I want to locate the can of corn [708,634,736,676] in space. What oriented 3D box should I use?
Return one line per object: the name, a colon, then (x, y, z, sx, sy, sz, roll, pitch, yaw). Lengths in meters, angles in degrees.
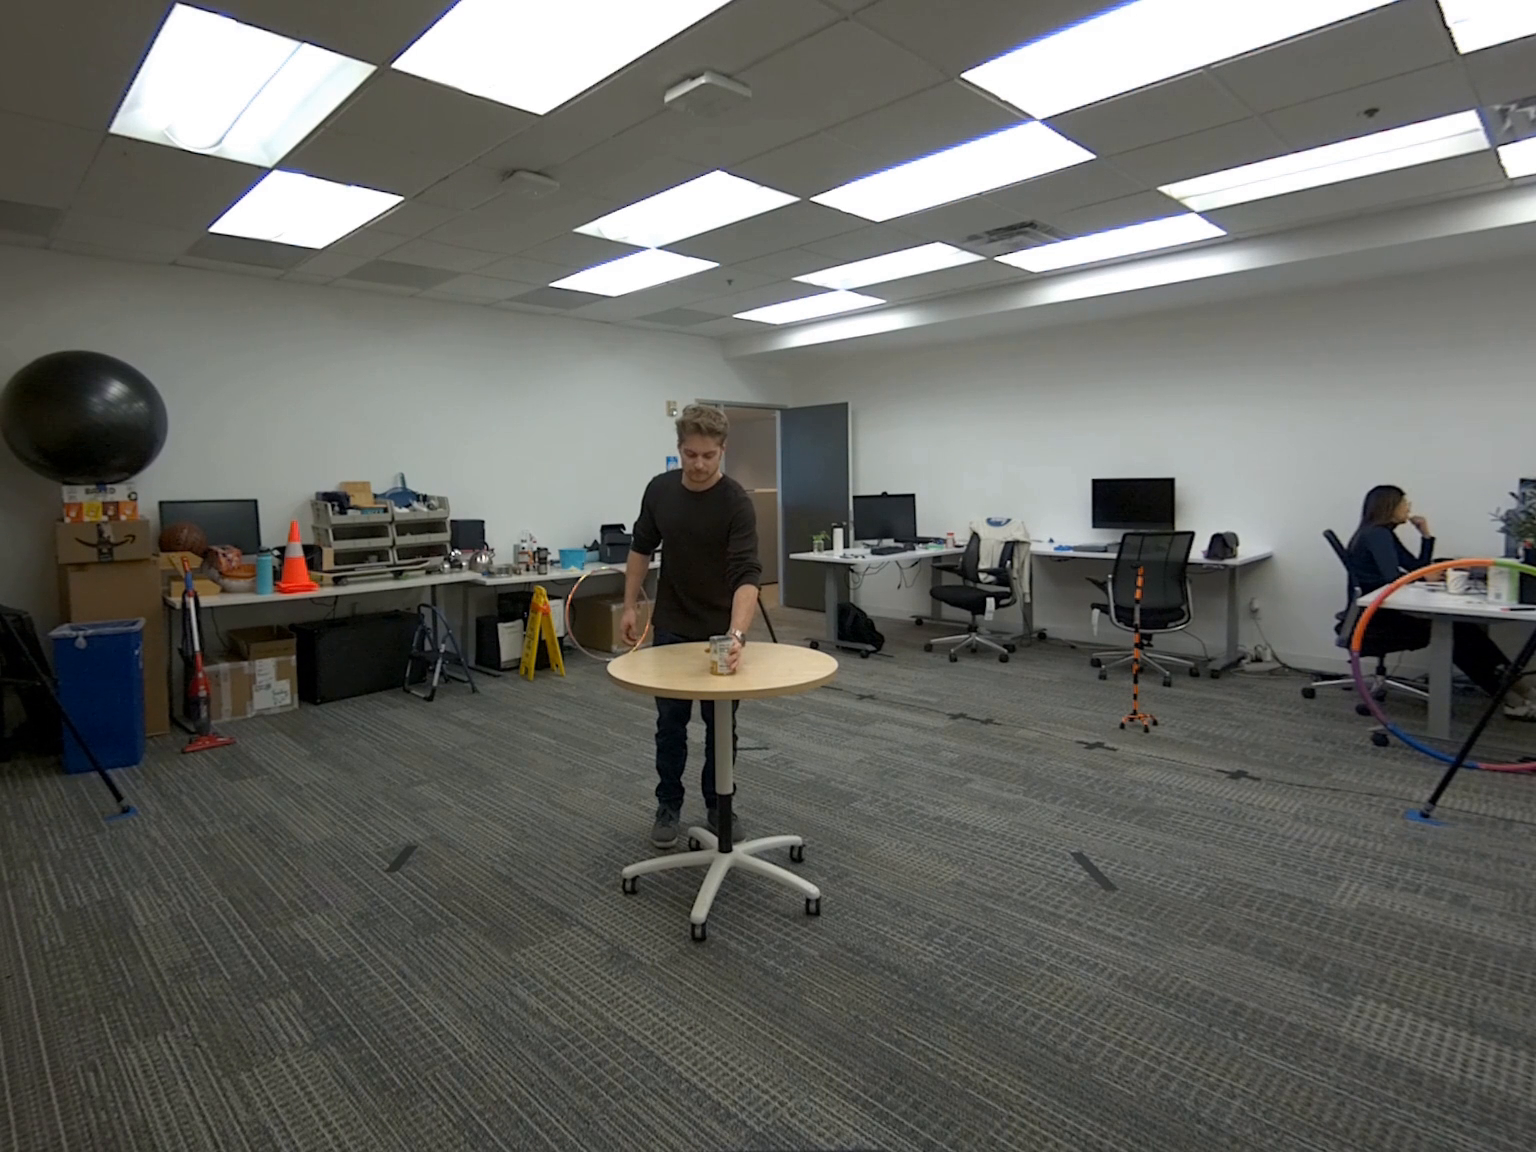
can of corn: (-0.143, 0.255, 2.696, 0.074, 0.111, 0.074, 1, 3, -2)
